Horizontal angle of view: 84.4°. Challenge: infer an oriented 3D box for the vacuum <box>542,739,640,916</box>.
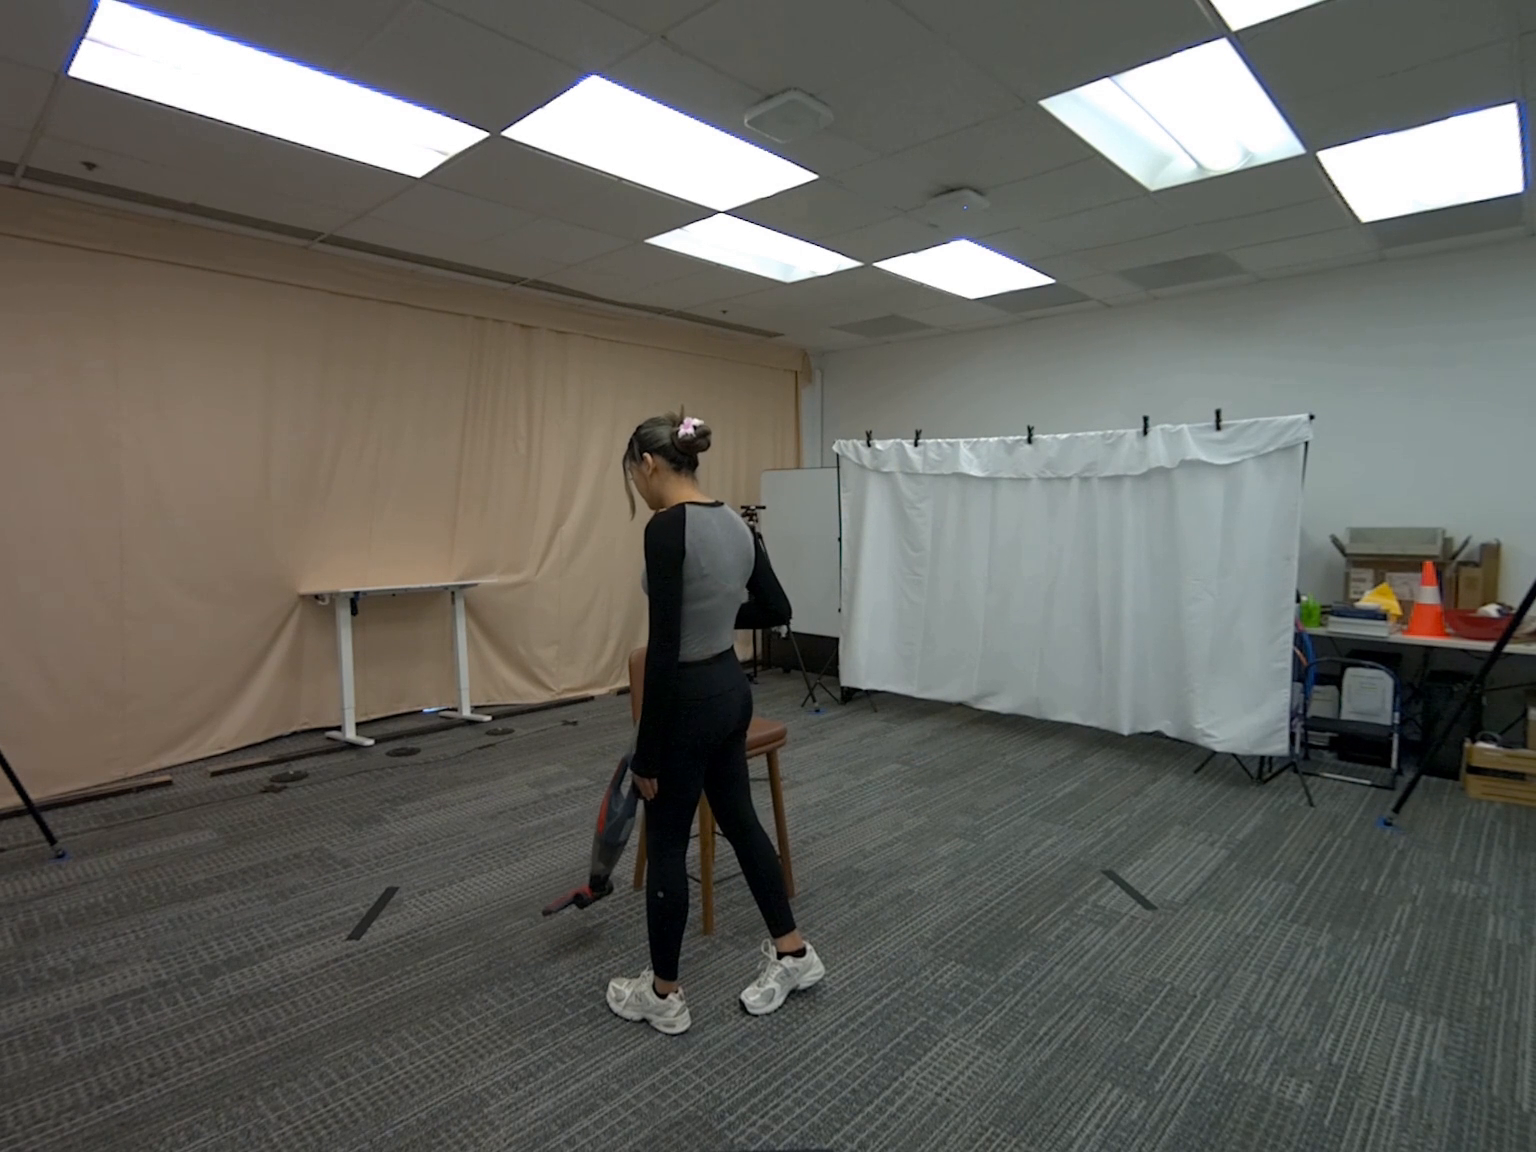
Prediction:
[{"bbox_3d":[-0.409,0.577,2.559,0.148,1.046,0.246,31,19,27],"label":"vacuum"}]
